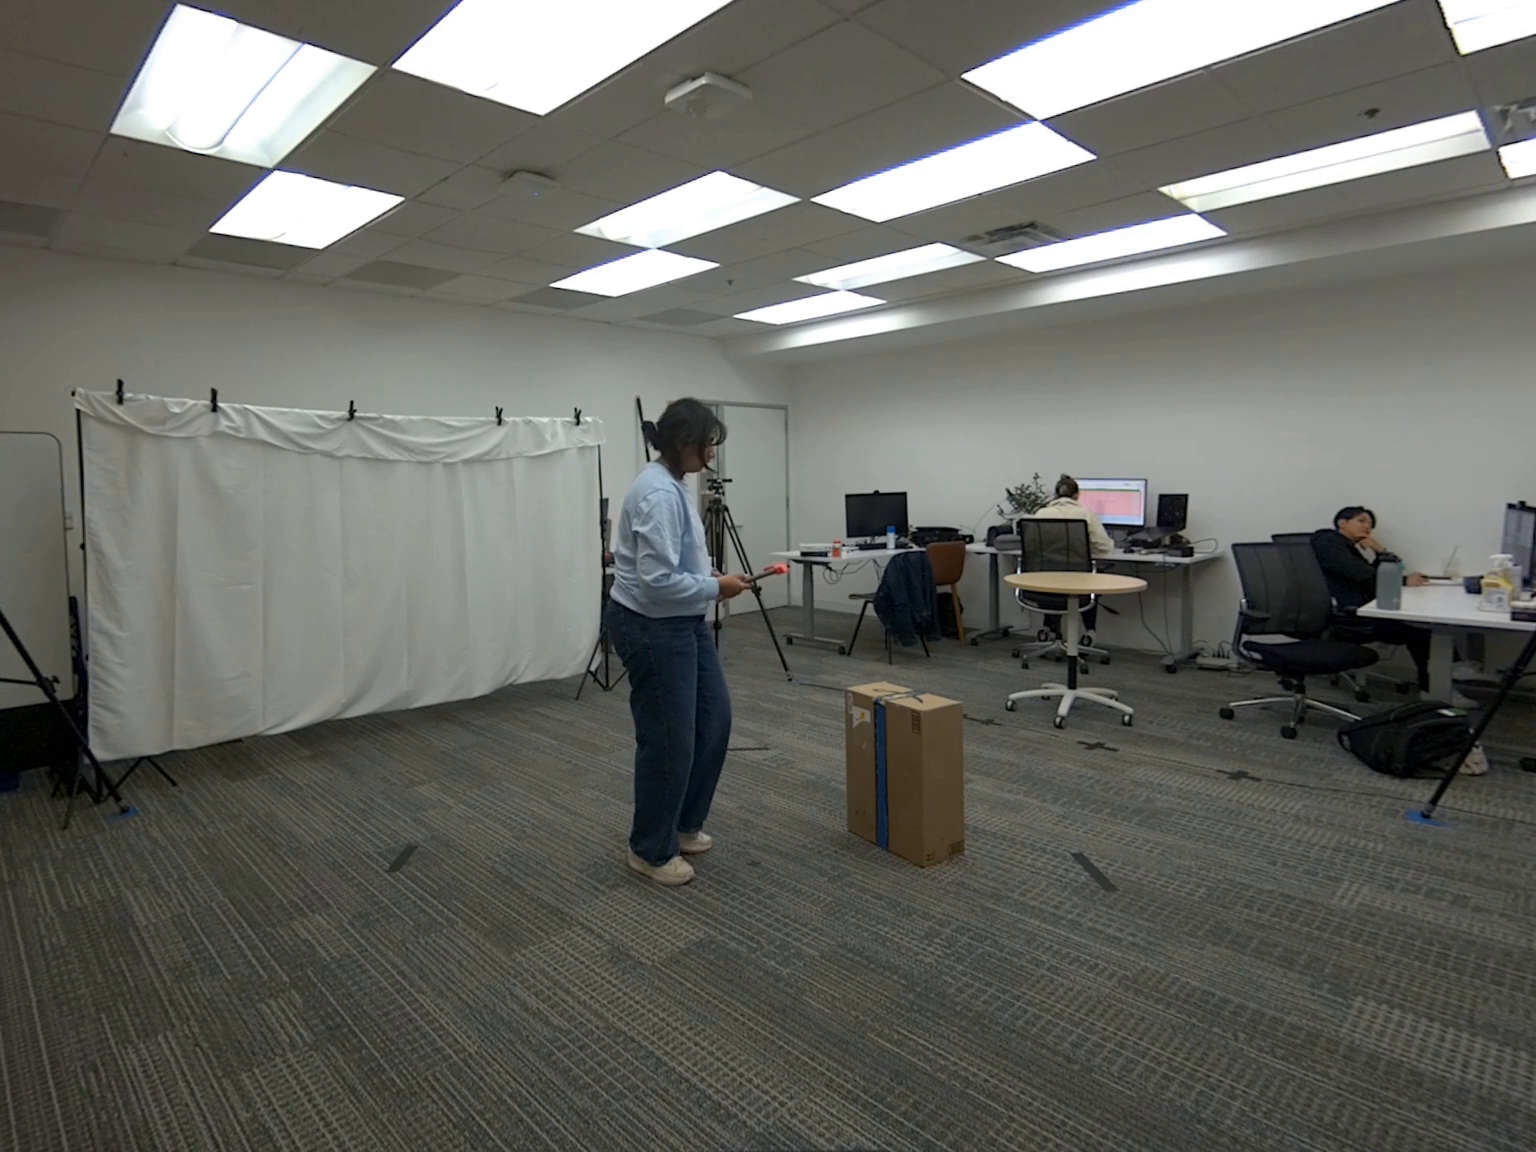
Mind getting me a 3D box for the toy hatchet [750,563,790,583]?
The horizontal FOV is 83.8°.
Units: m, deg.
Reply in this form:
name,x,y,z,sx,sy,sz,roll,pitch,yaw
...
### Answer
name,x,y,z,sx,sy,sz,roll,pitch,yaw
toy hatchet,-0.079,0.015,2.993,0.271,0.029,0.133,-15,19,7
